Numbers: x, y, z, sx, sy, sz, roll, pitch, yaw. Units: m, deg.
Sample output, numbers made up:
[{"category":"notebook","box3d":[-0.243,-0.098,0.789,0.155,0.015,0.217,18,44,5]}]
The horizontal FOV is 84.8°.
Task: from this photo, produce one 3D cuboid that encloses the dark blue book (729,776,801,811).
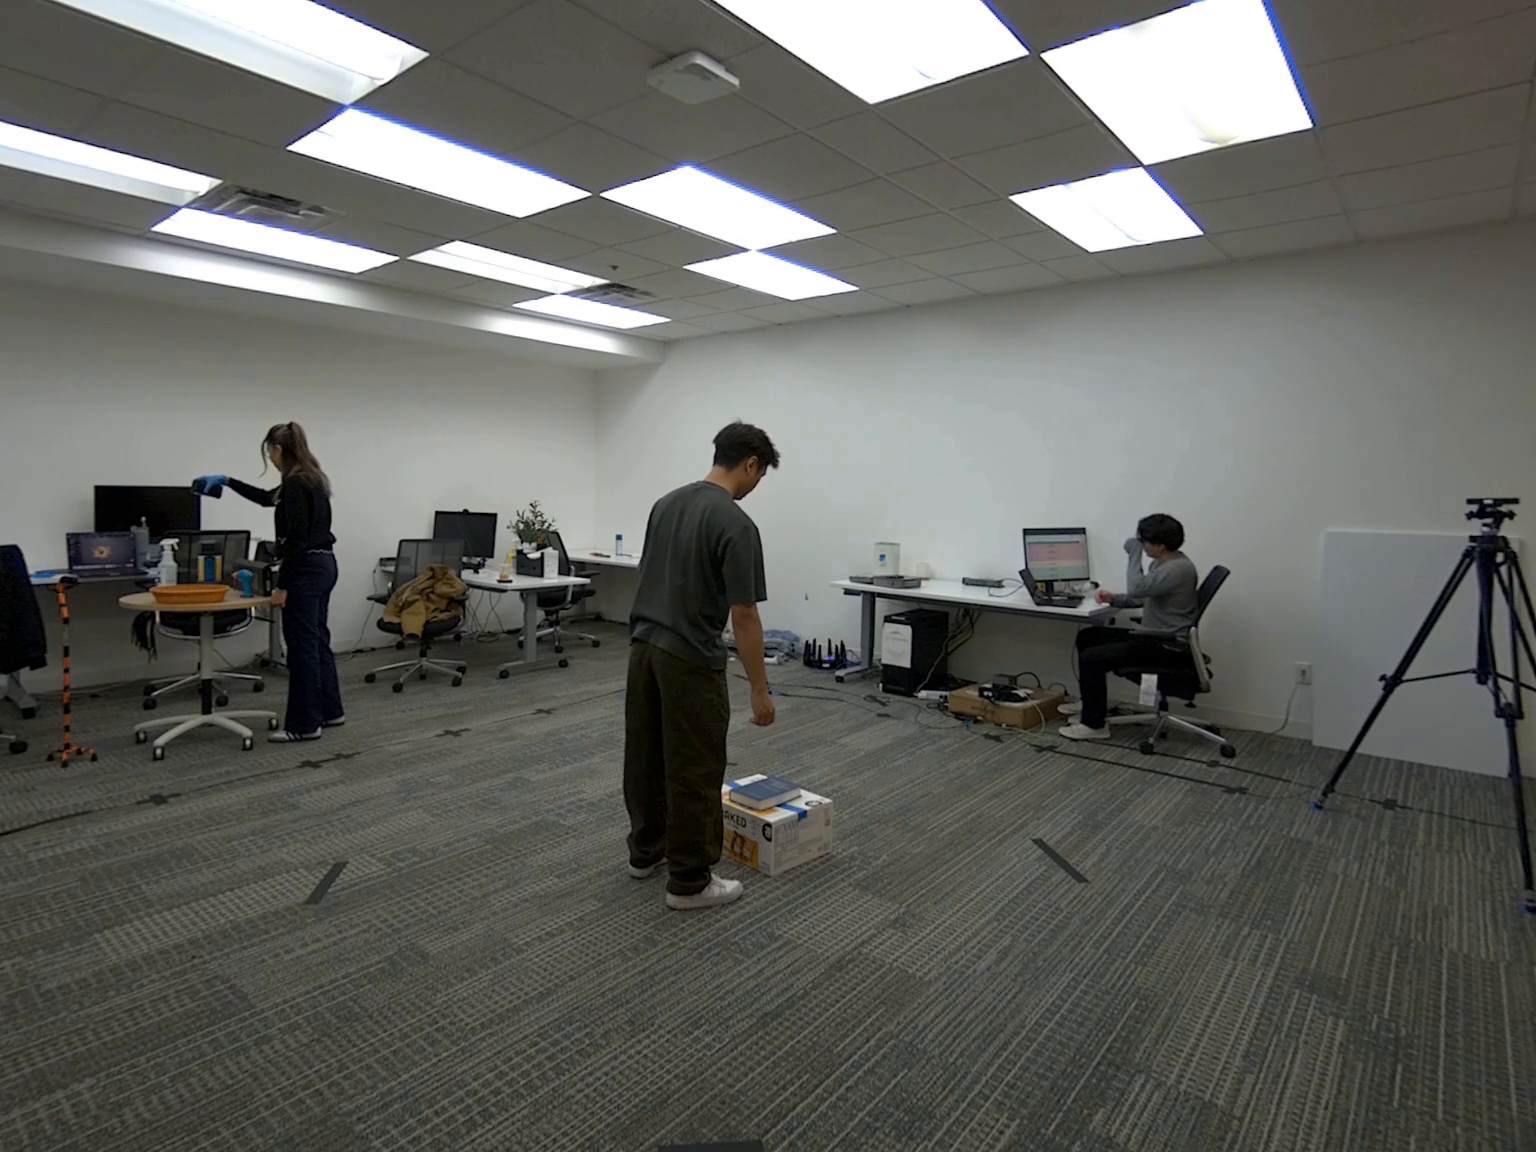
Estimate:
[{"category":"dark blue book","box3d":[-0.011,0.838,3.290,0.169,0.045,0.238,6,7,44]}]
